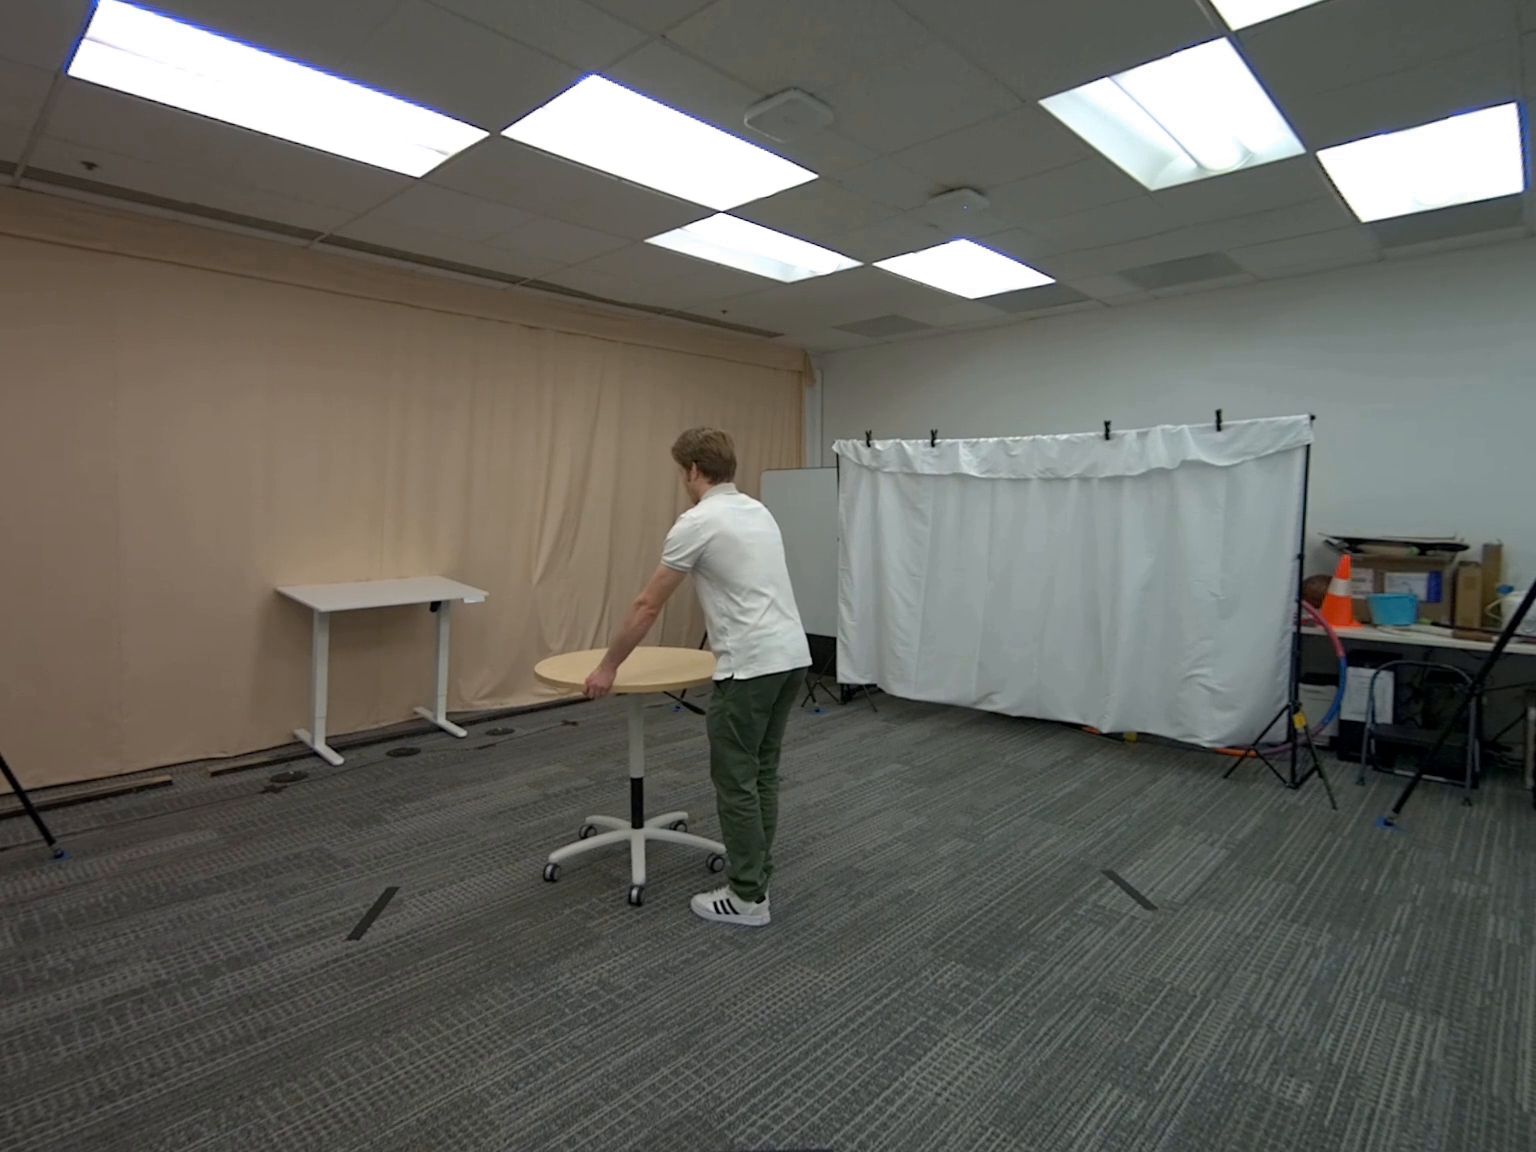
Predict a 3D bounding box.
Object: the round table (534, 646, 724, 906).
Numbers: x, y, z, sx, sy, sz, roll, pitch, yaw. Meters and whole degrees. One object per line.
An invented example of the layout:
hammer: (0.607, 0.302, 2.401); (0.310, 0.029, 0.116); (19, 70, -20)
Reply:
round table: (-0.509, 0.735, 3.276); (0.763, 0.792, 0.766); (-1, 3, -2)
